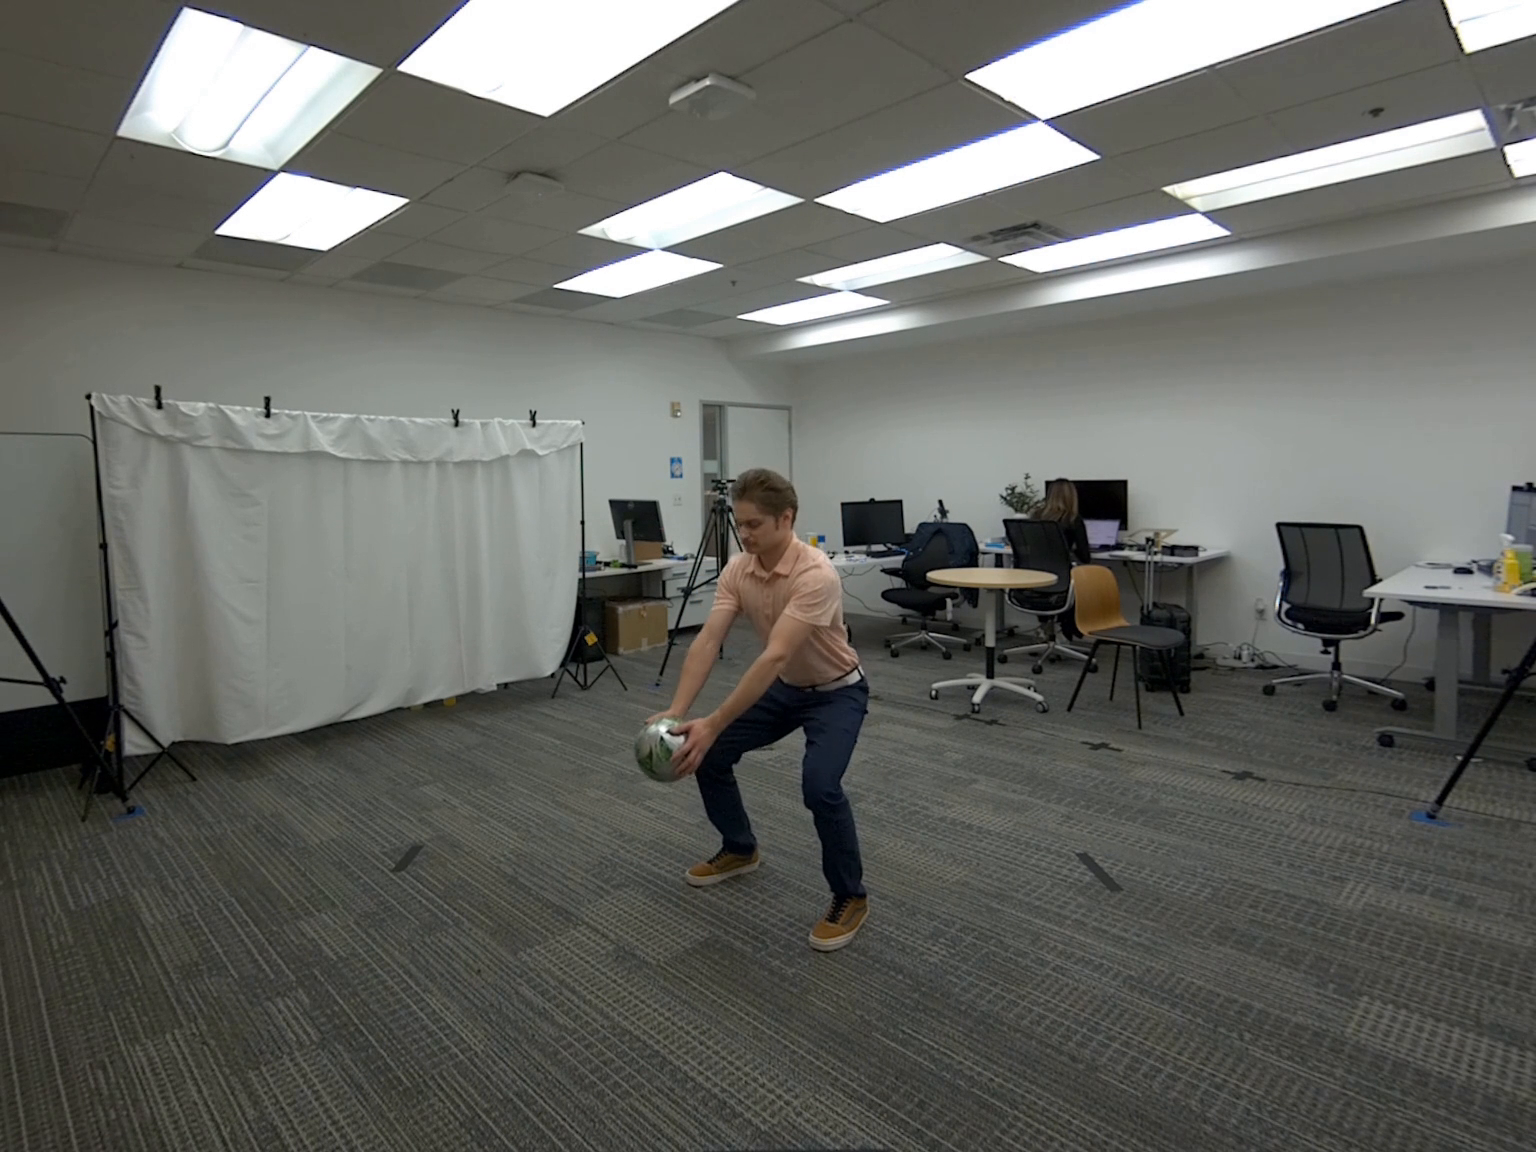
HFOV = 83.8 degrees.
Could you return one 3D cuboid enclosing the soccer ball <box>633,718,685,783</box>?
[{"bbox_3d":[-0.295,0.510,2.484,0.187,0.187,0.188,-1,5,-2],"label":"soccer ball"}]
